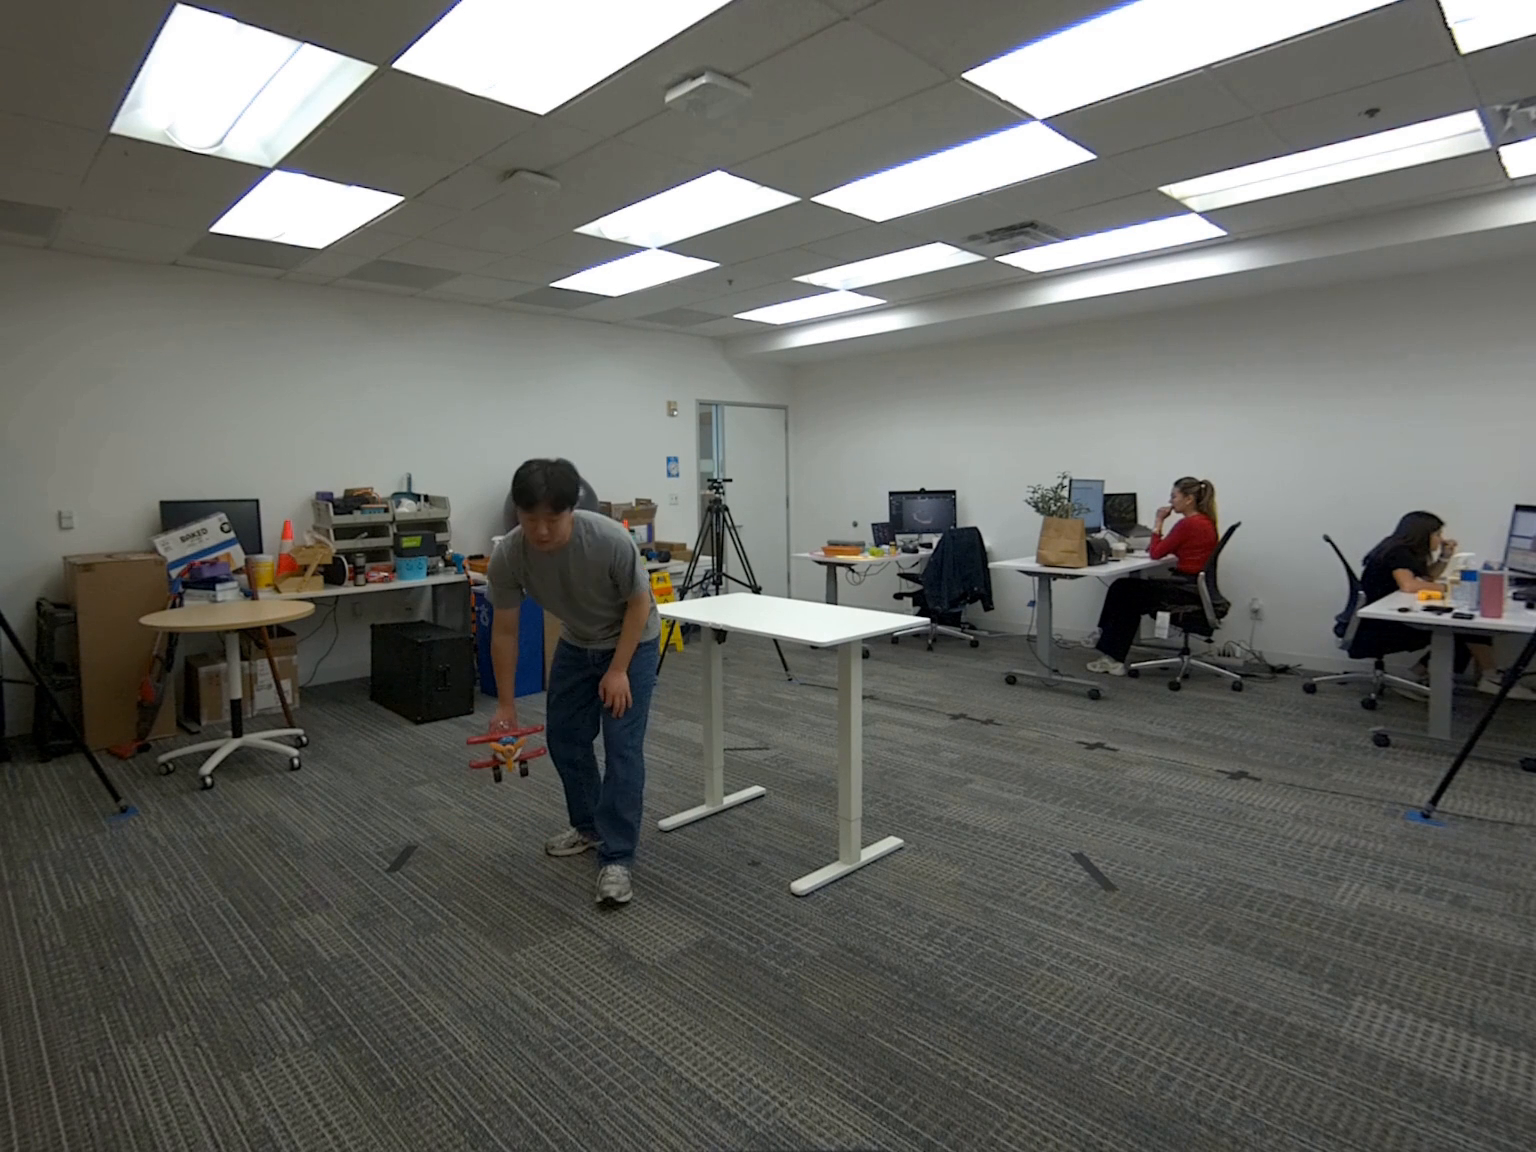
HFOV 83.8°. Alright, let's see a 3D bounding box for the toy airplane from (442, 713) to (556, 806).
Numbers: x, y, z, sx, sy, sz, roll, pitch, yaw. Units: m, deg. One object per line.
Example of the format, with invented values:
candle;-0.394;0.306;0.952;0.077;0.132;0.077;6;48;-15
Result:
toy airplane;-0.895;0.593;2.853;0.268;0.154;0.246;13;21;36
